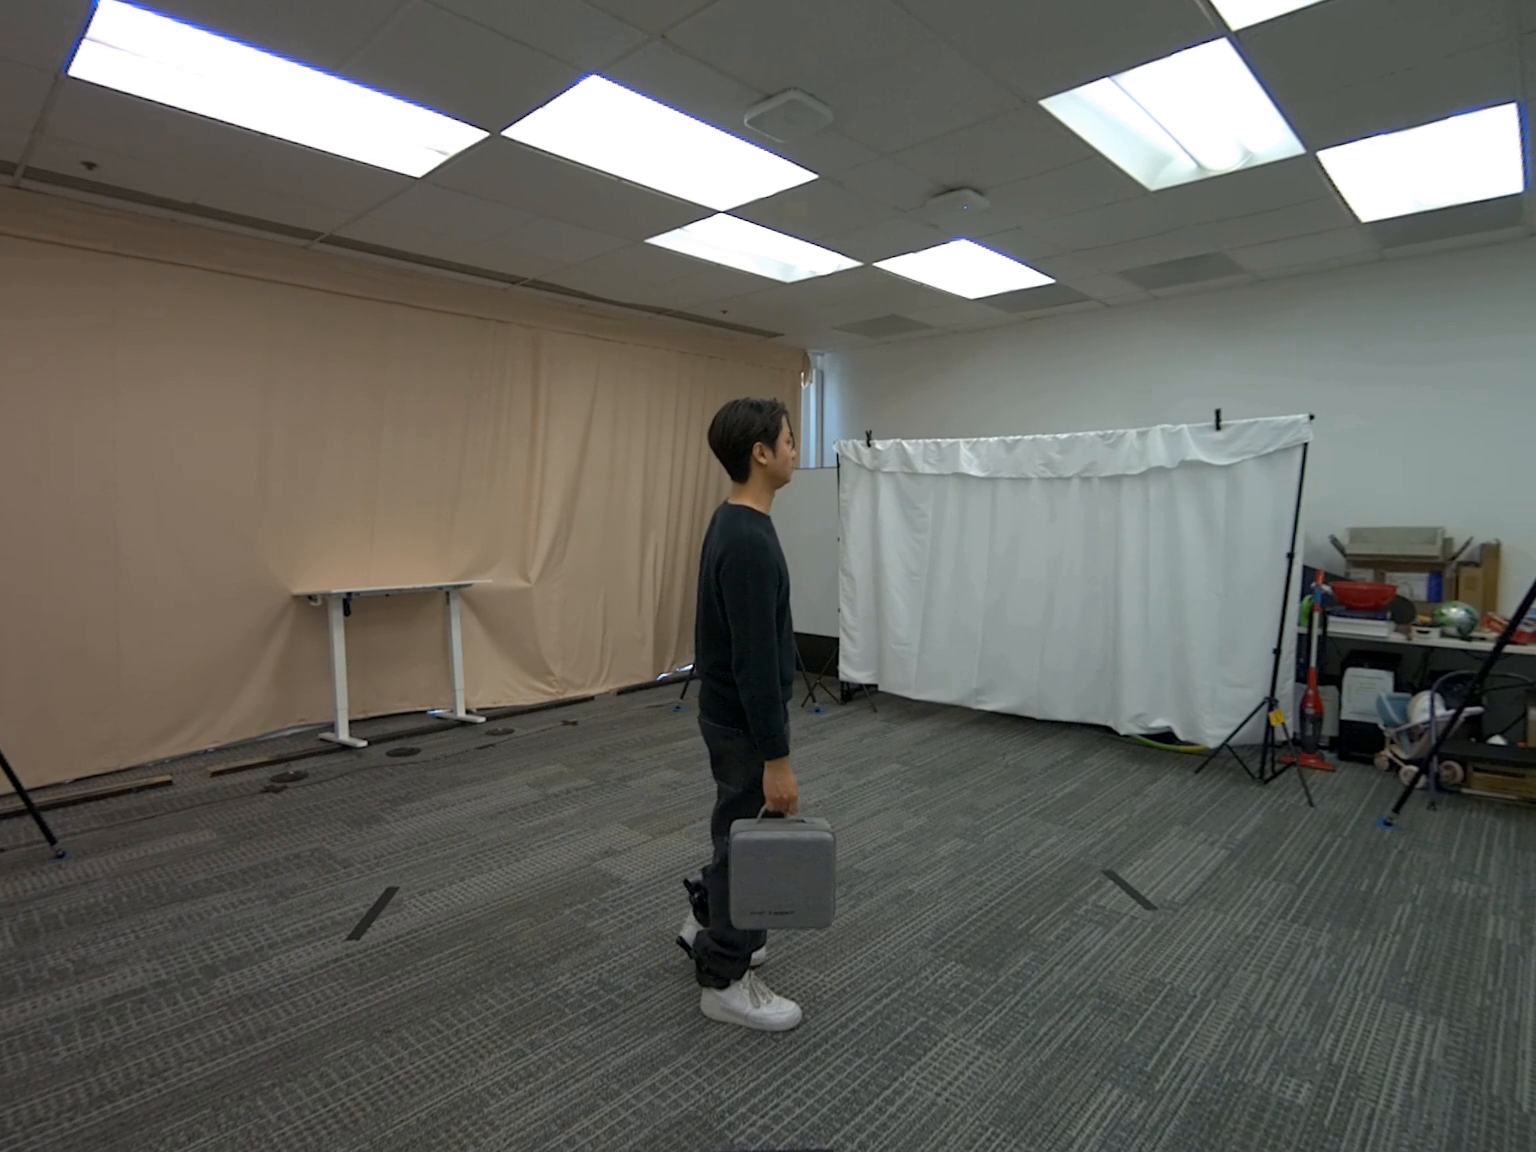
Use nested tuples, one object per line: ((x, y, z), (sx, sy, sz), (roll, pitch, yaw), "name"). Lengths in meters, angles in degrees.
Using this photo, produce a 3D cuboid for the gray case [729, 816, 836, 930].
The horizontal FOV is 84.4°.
((0.031, 0.718, 2.067), (0.257, 0.260, 0.105), (0, 6, 0), "gray case")
